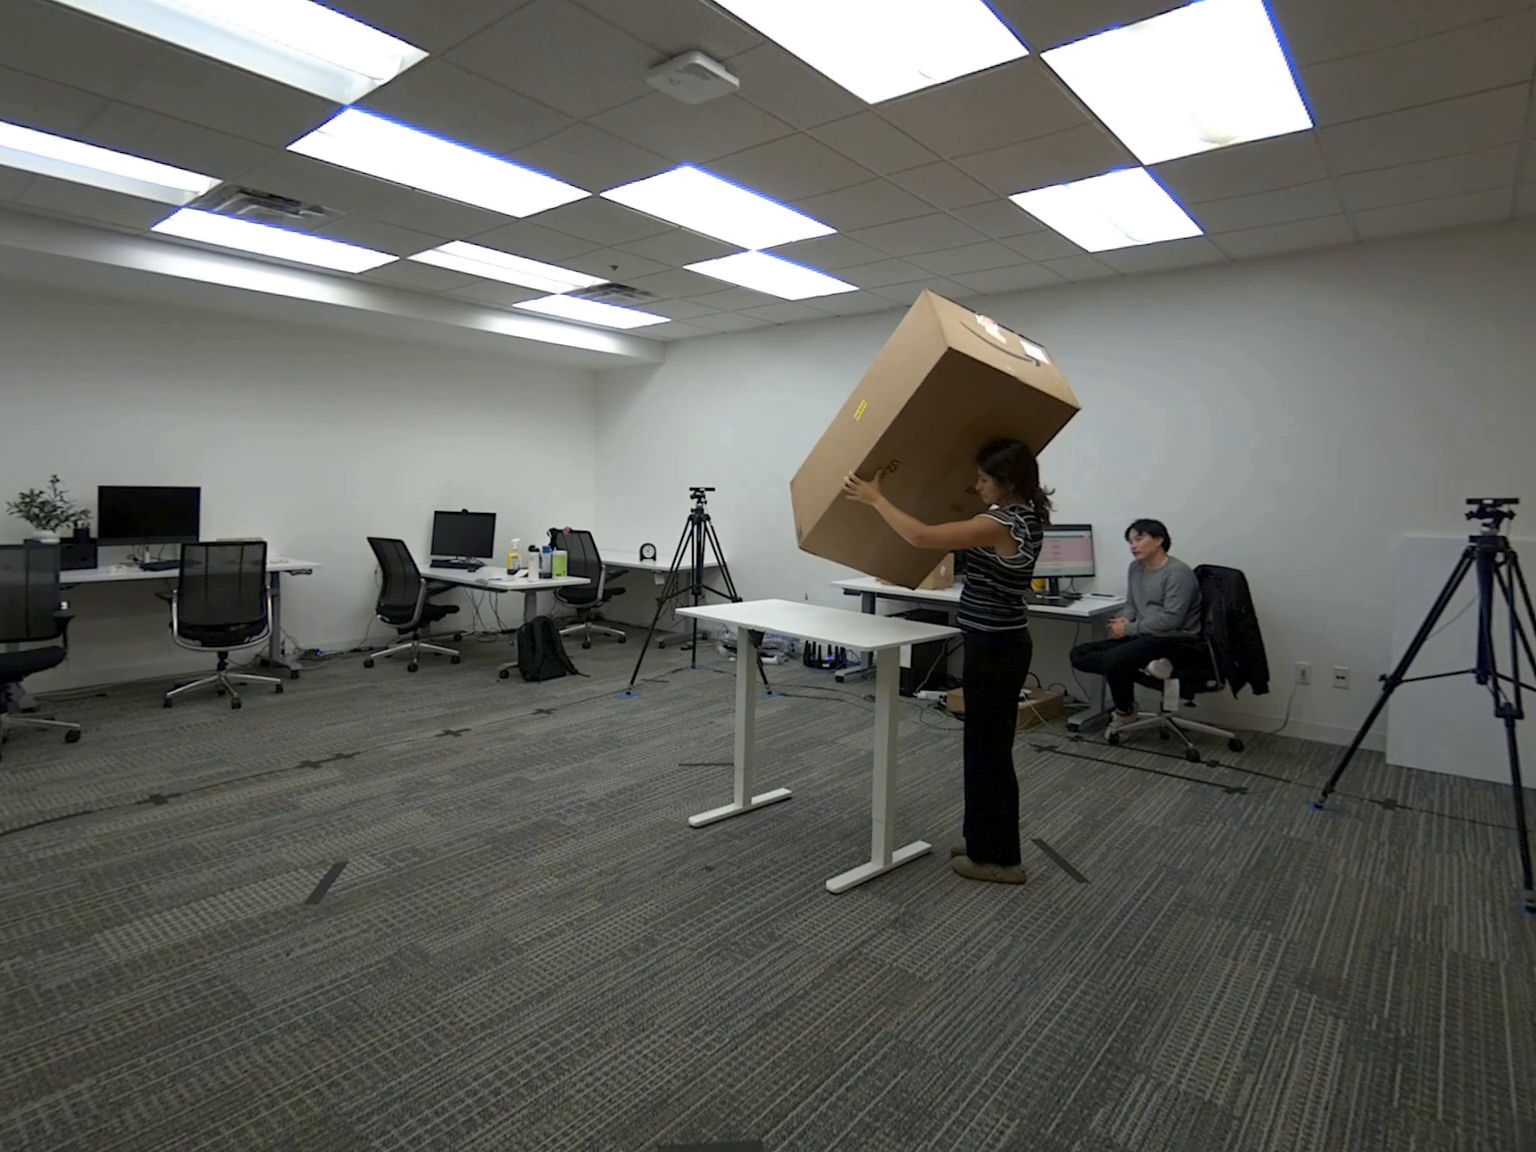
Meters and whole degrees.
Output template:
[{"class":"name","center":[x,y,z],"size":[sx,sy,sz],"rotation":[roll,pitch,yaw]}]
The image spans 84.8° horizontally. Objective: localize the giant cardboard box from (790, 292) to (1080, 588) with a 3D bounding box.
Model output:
[{"class":"giant cardboard box","center":[0.586,-0.499,3.358],"size":[0.564,1.020,0.439],"rotation":[20,40,-20]}]
